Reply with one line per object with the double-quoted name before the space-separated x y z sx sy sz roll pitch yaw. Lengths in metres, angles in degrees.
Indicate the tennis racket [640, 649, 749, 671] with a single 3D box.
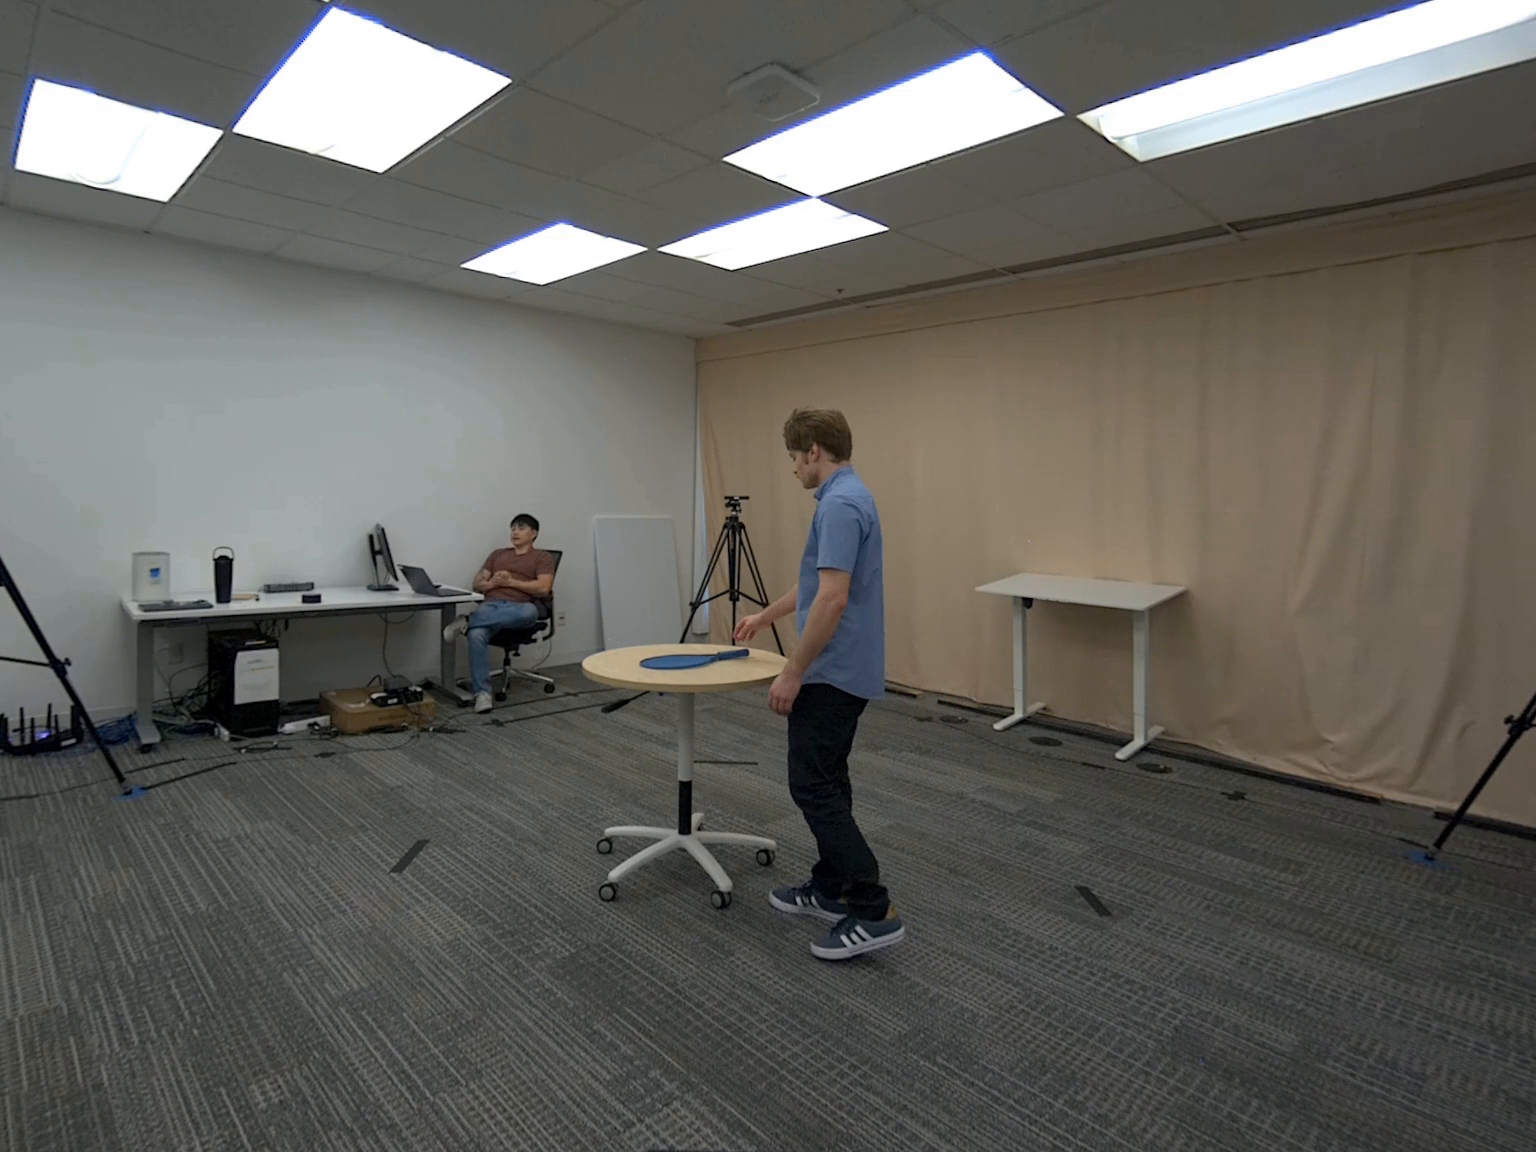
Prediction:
"tennis racket" -0.270 0.307 3.083 0.424 0.031 0.218 -4 6 -30
